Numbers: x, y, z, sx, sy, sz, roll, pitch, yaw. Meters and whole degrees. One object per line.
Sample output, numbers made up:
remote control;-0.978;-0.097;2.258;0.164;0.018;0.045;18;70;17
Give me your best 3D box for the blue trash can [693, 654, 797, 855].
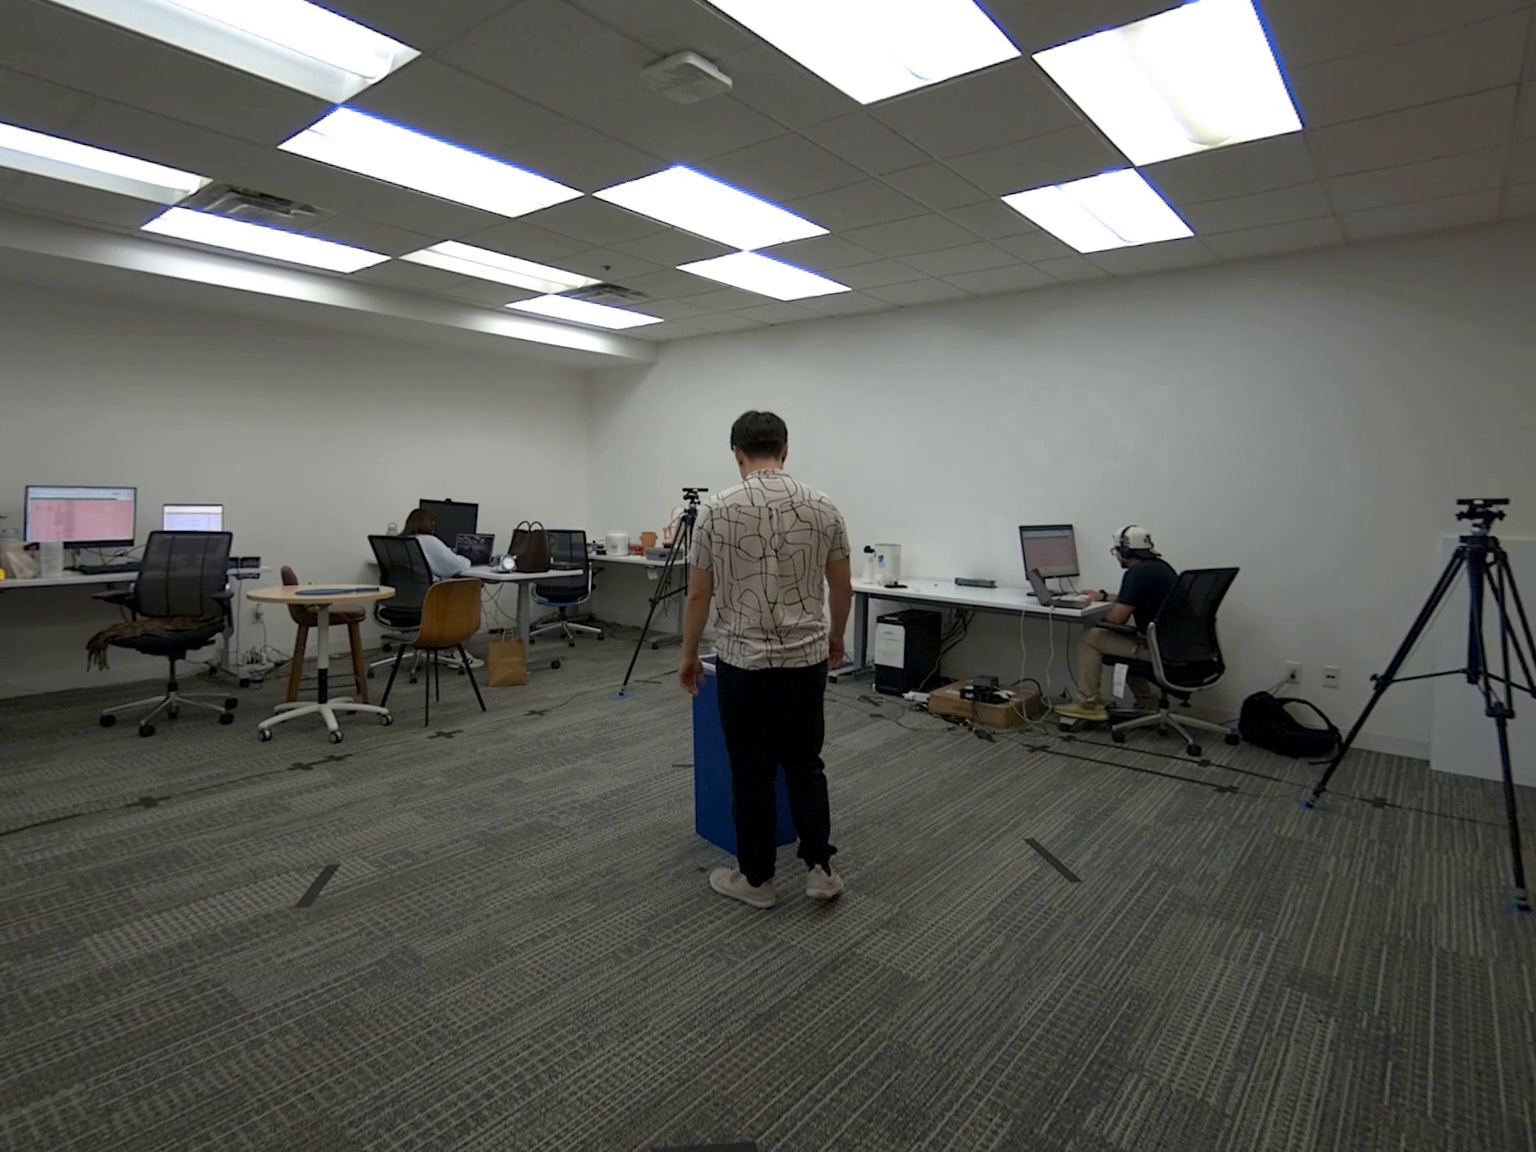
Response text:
blue trash can;-0.095;0.686;3.390;0.363;0.712;0.390;-1;3;-38
